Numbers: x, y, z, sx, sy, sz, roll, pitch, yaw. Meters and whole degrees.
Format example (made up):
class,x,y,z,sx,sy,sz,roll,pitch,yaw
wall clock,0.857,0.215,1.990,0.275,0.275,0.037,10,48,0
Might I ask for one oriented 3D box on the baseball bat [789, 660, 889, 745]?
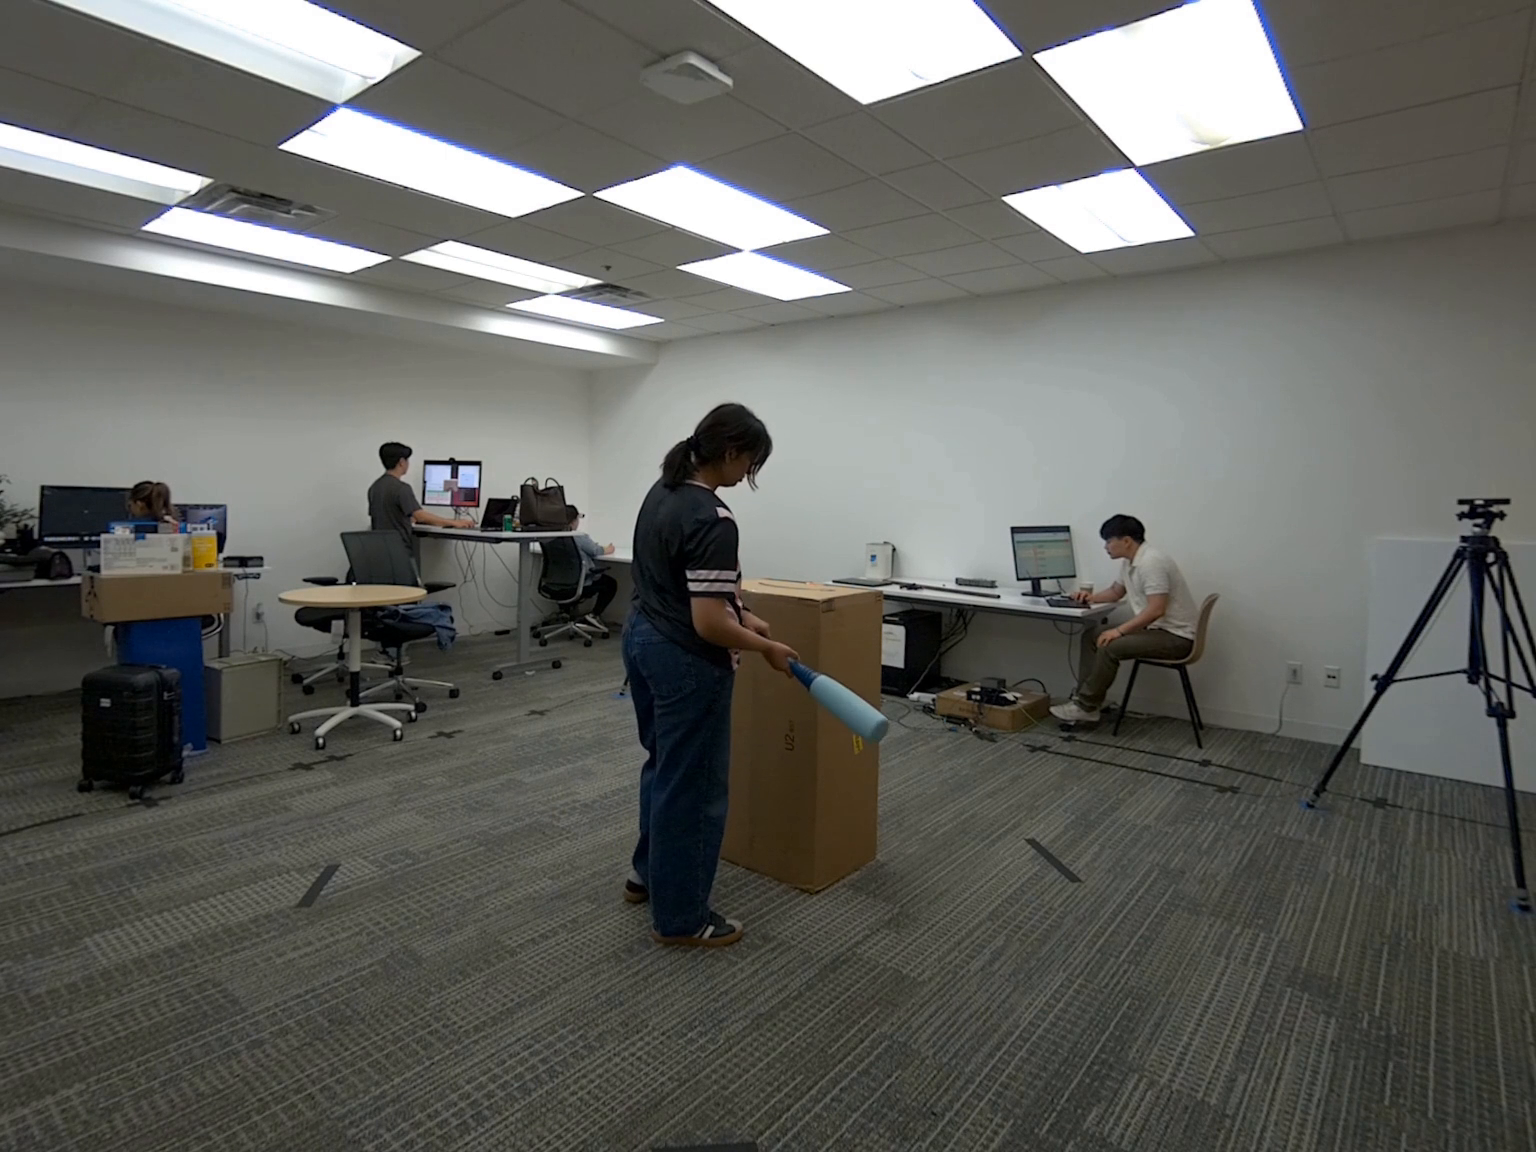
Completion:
class,x,y,z,sx,sy,sz,roll,pitch,yaw
baseball bat,0.118,0.299,2.522,0.086,0.088,0.566,-3,25,-44
